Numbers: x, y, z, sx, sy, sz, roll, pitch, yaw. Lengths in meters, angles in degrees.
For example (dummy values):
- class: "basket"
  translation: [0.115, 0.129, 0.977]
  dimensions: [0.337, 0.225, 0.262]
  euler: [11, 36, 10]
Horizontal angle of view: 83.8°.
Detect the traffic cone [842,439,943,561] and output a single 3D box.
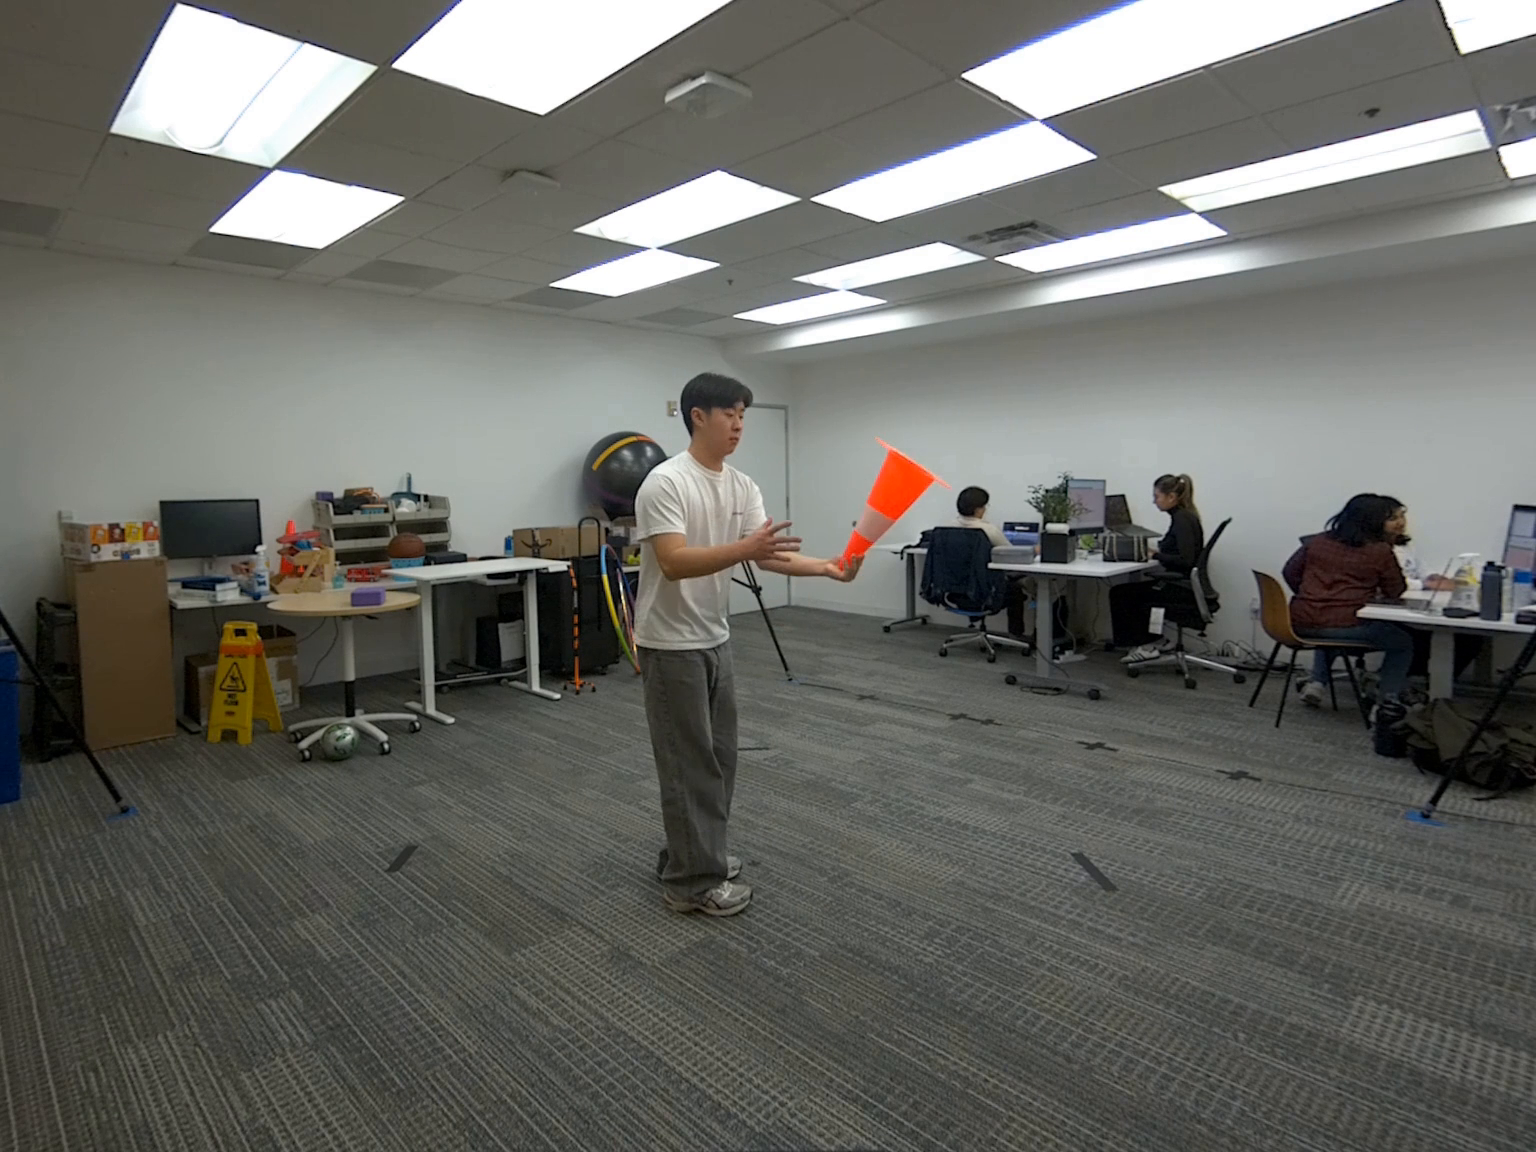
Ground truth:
- class: "traffic cone"
  translation: [0.308, -0.182, 2.549]
  dimensions: [0.197, 0.382, 0.212]
  euler: [28, 16, -28]
